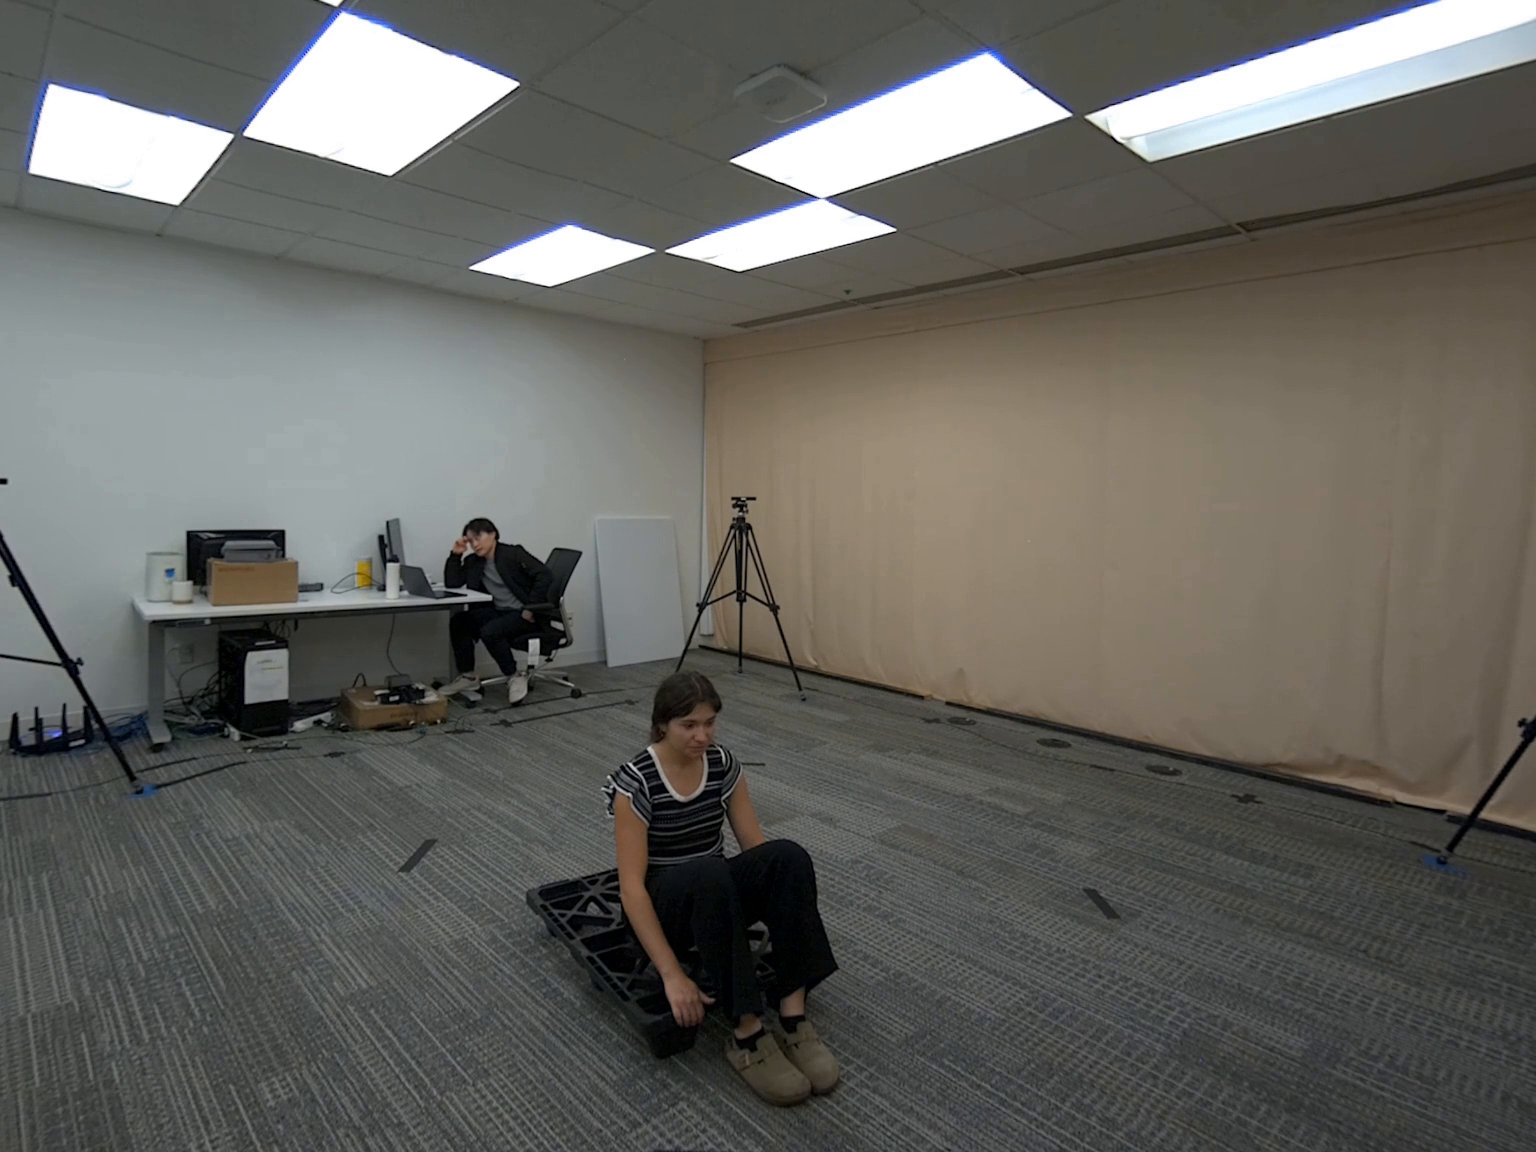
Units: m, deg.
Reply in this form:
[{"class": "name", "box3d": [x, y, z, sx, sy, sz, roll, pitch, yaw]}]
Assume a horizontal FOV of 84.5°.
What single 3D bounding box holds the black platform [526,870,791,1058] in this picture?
[{"class": "black platform", "box3d": [-0.305, 1.091, 2.504, 0.592, 0.143, 0.826, -4, 8, -35]}]
